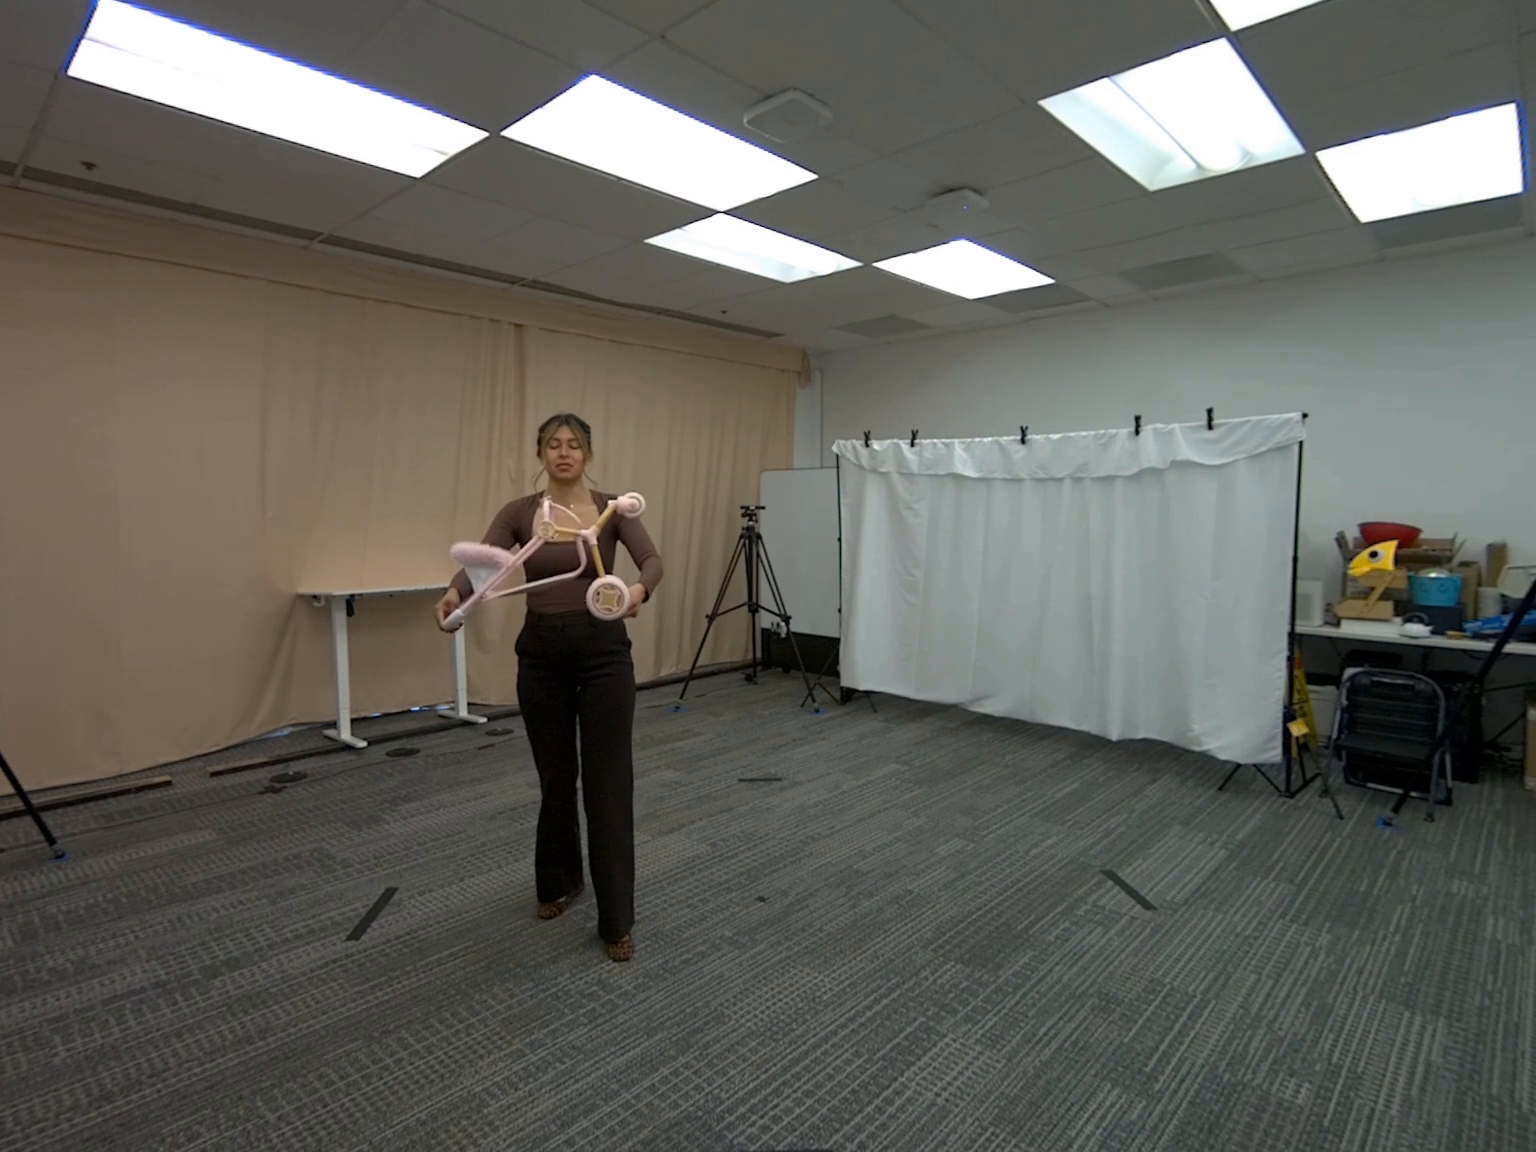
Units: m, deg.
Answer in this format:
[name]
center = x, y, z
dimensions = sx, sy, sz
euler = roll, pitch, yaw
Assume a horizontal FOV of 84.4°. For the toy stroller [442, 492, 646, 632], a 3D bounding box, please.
[toy stroller]
center = -0.582, -0.042, 2.237
dimensions = 0.531, 0.340, 0.285
euler = -4, 6, -8
